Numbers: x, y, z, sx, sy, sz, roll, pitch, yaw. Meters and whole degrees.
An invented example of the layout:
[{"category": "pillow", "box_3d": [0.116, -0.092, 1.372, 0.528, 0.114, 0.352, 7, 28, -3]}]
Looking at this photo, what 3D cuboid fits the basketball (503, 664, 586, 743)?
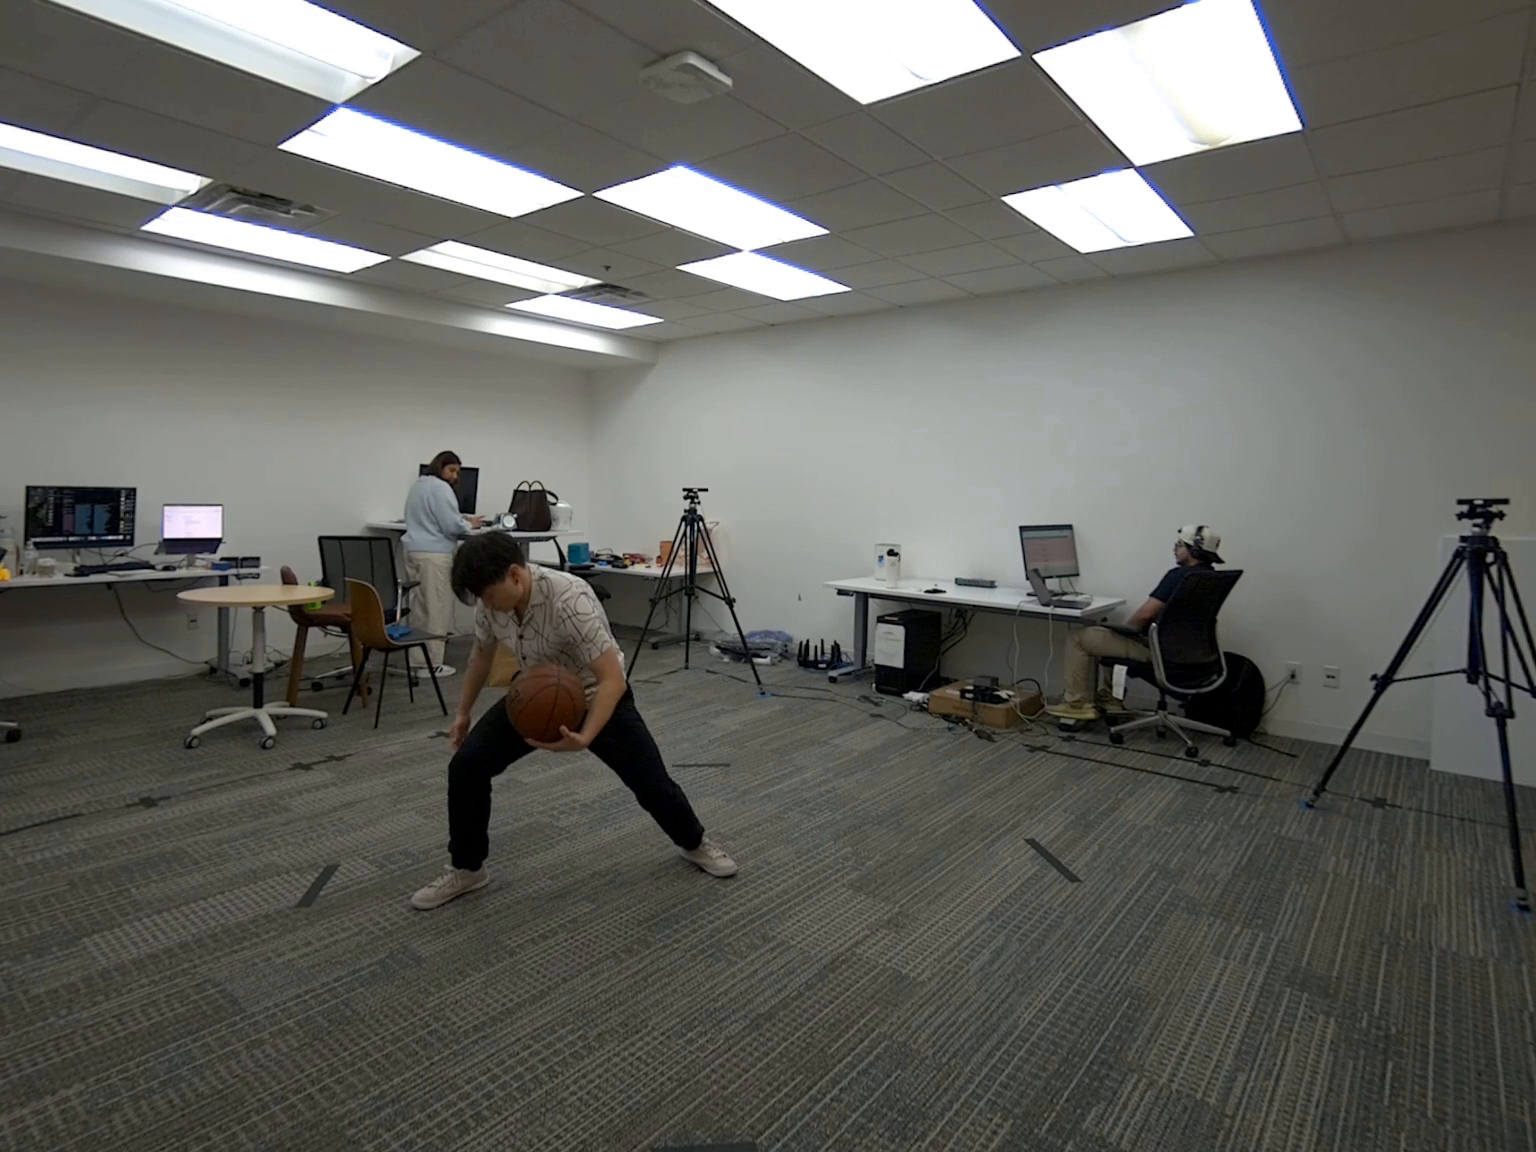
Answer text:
[{"category": "basketball", "box_3d": [-0.689, 0.381, 2.590, 0.235, 0.235, 0.237, 1, 4, -2]}]
